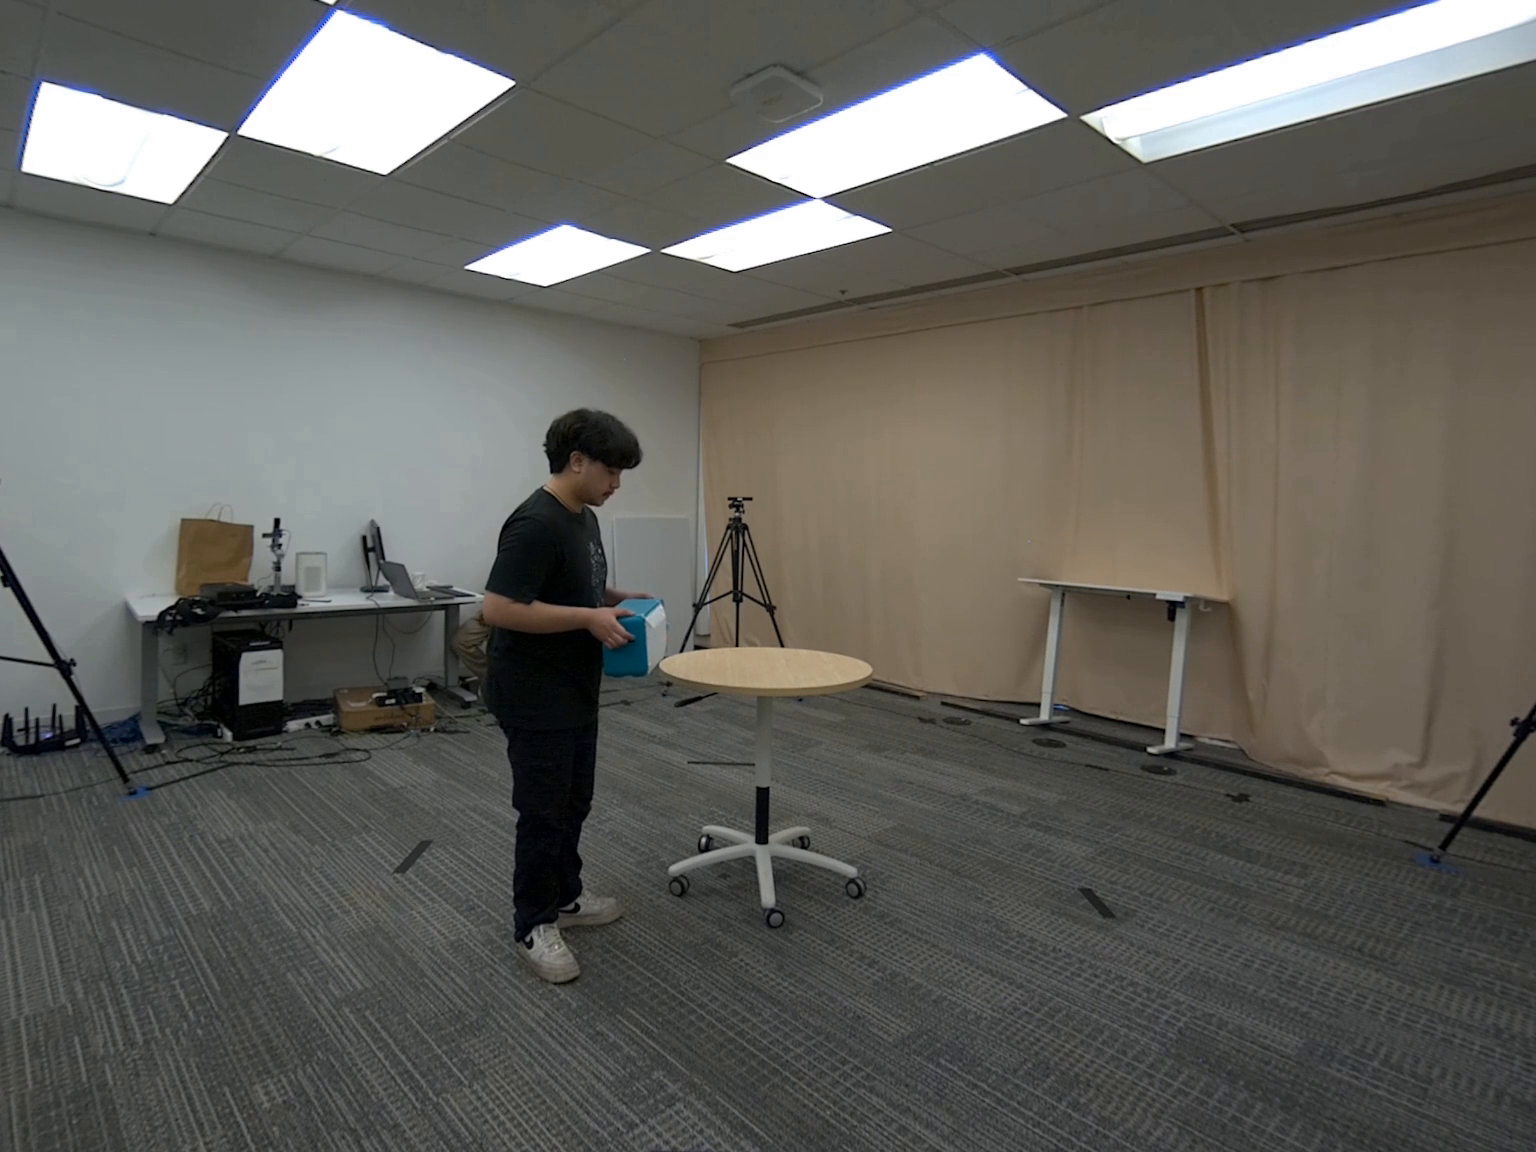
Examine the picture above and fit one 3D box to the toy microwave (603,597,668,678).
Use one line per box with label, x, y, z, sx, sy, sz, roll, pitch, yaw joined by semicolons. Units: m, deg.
toy microwave;-0.398;0.176;2.515;0.153;0.183;0.286;-2;8;7
